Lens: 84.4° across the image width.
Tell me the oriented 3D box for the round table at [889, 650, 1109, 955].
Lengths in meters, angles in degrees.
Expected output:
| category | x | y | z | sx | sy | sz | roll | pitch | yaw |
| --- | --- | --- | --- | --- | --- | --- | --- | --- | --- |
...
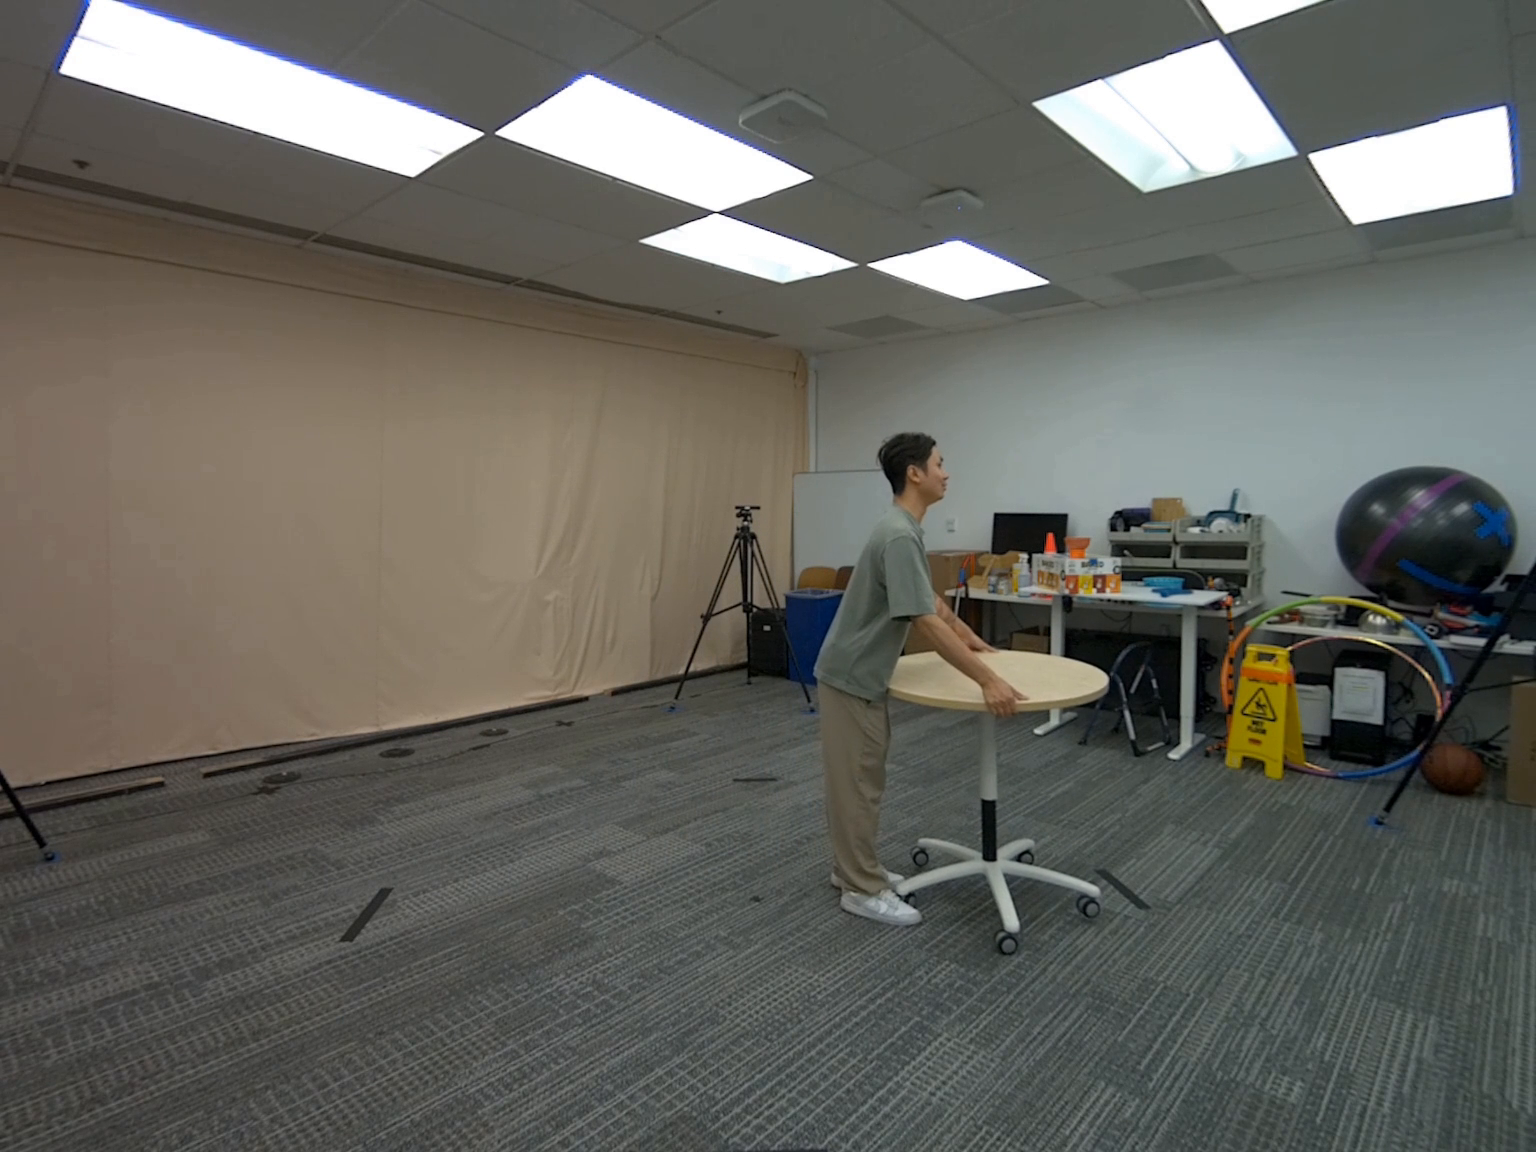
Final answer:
| category | x | y | z | sx | sy | sz | roll | pitch | yaw |
| --- | --- | --- | --- | --- | --- | --- | --- | --- | --- |
| round table | 0.767 | 0.736 | 2.905 | 0.784 | 0.784 | 0.788 | -2 | 5 | -2 |
